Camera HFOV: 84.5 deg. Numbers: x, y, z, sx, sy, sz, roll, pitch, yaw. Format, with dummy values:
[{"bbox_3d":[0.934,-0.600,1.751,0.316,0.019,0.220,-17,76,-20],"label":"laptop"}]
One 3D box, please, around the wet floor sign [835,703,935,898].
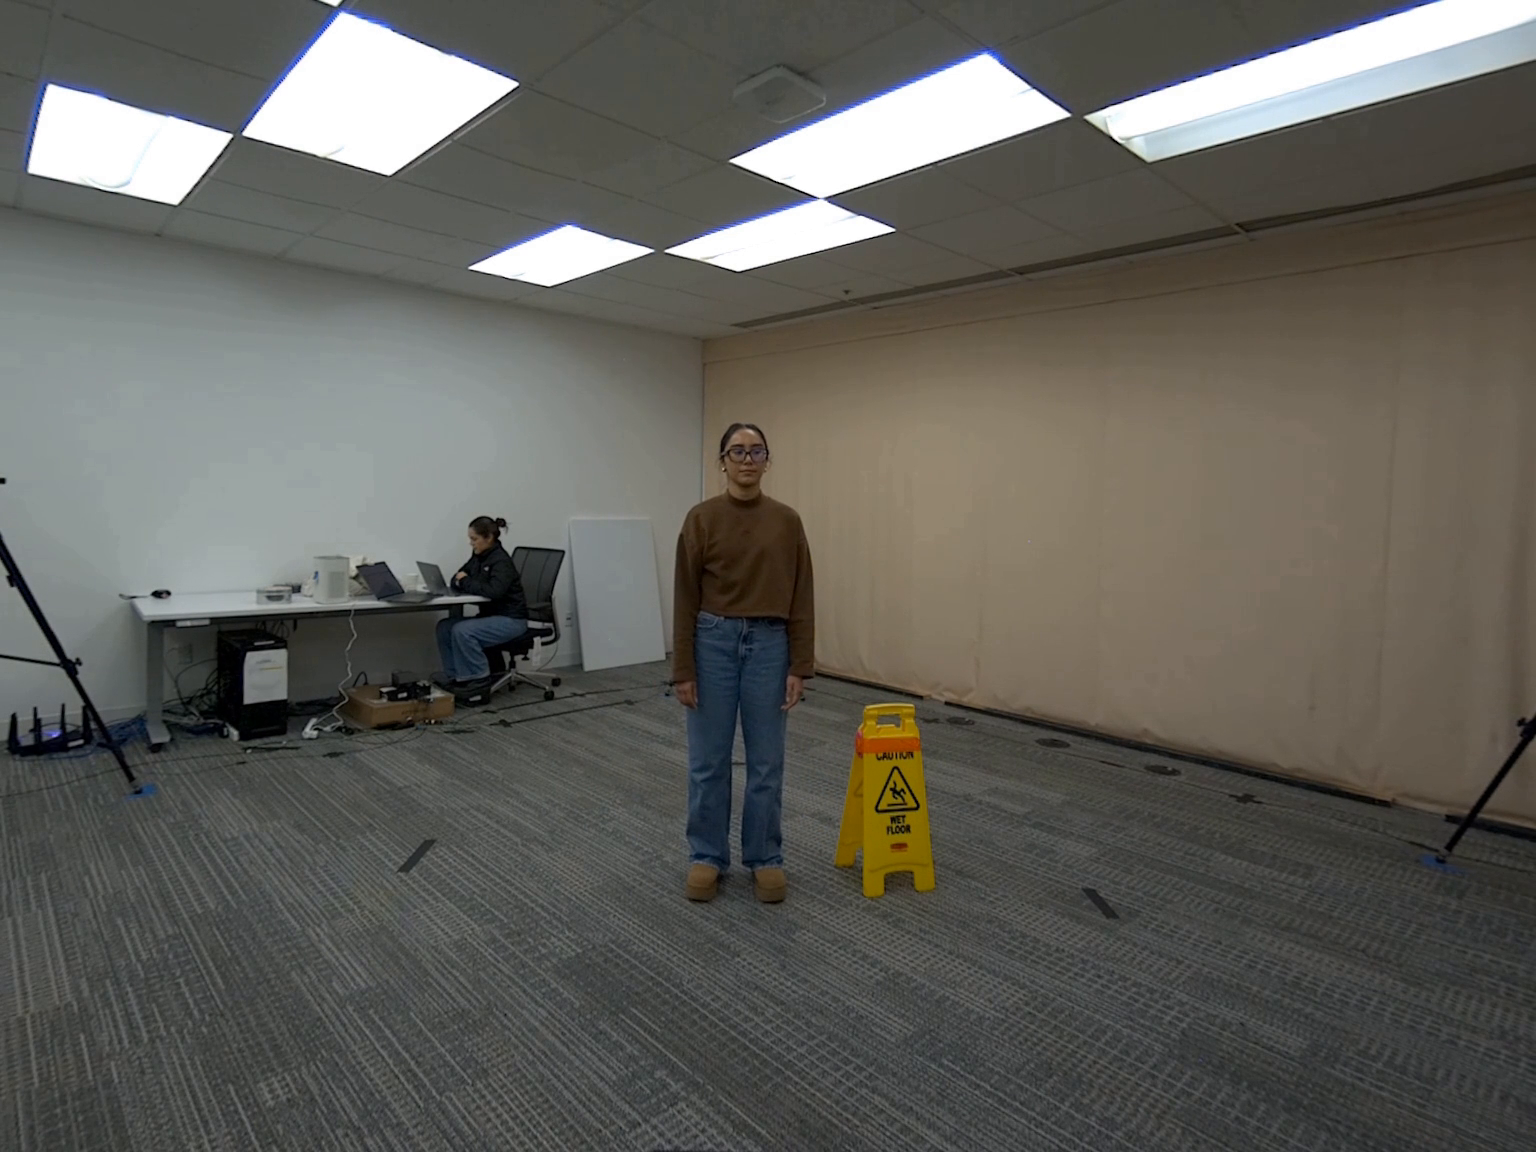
[{"bbox_3d":[0.431,0.795,3.106,0.278,0.645,0.294,1,2,-17],"label":"wet floor sign"}]
